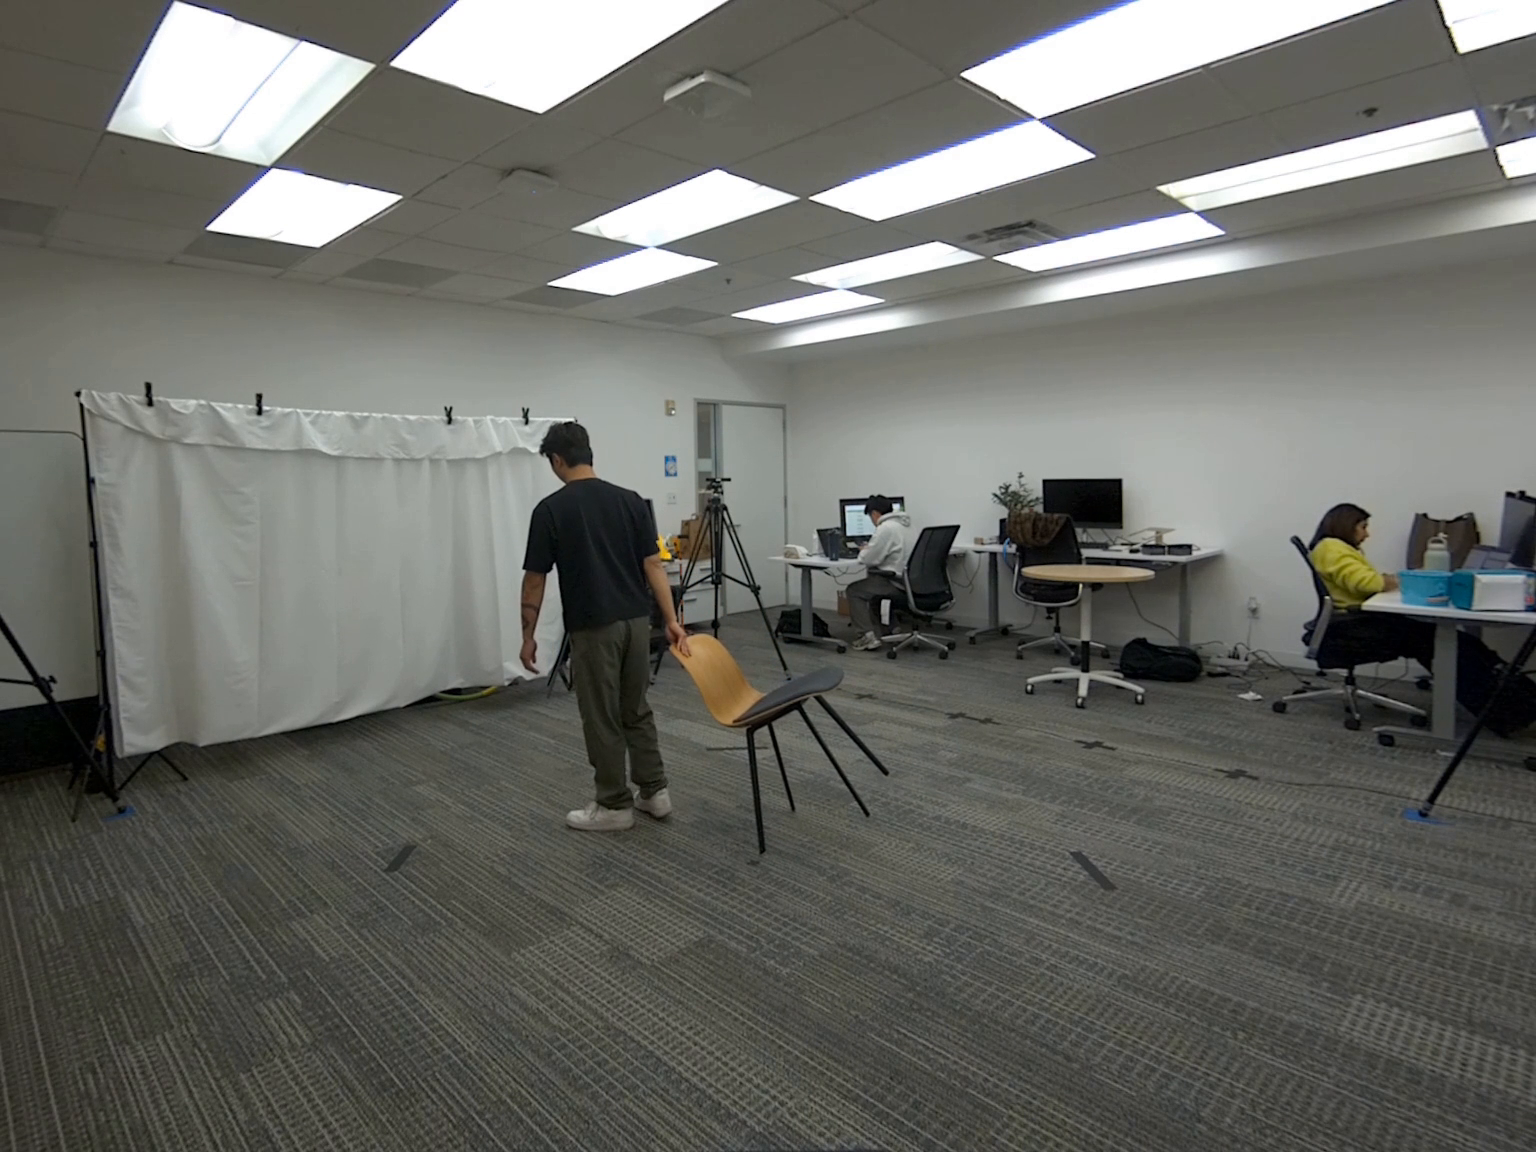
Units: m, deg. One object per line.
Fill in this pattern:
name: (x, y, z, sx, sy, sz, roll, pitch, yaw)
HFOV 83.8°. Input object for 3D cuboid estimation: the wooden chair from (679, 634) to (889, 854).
wooden chair: (0.055, 0.525, 3.338, 0.527, 0.885, 0.471, -31, -7, 20)
